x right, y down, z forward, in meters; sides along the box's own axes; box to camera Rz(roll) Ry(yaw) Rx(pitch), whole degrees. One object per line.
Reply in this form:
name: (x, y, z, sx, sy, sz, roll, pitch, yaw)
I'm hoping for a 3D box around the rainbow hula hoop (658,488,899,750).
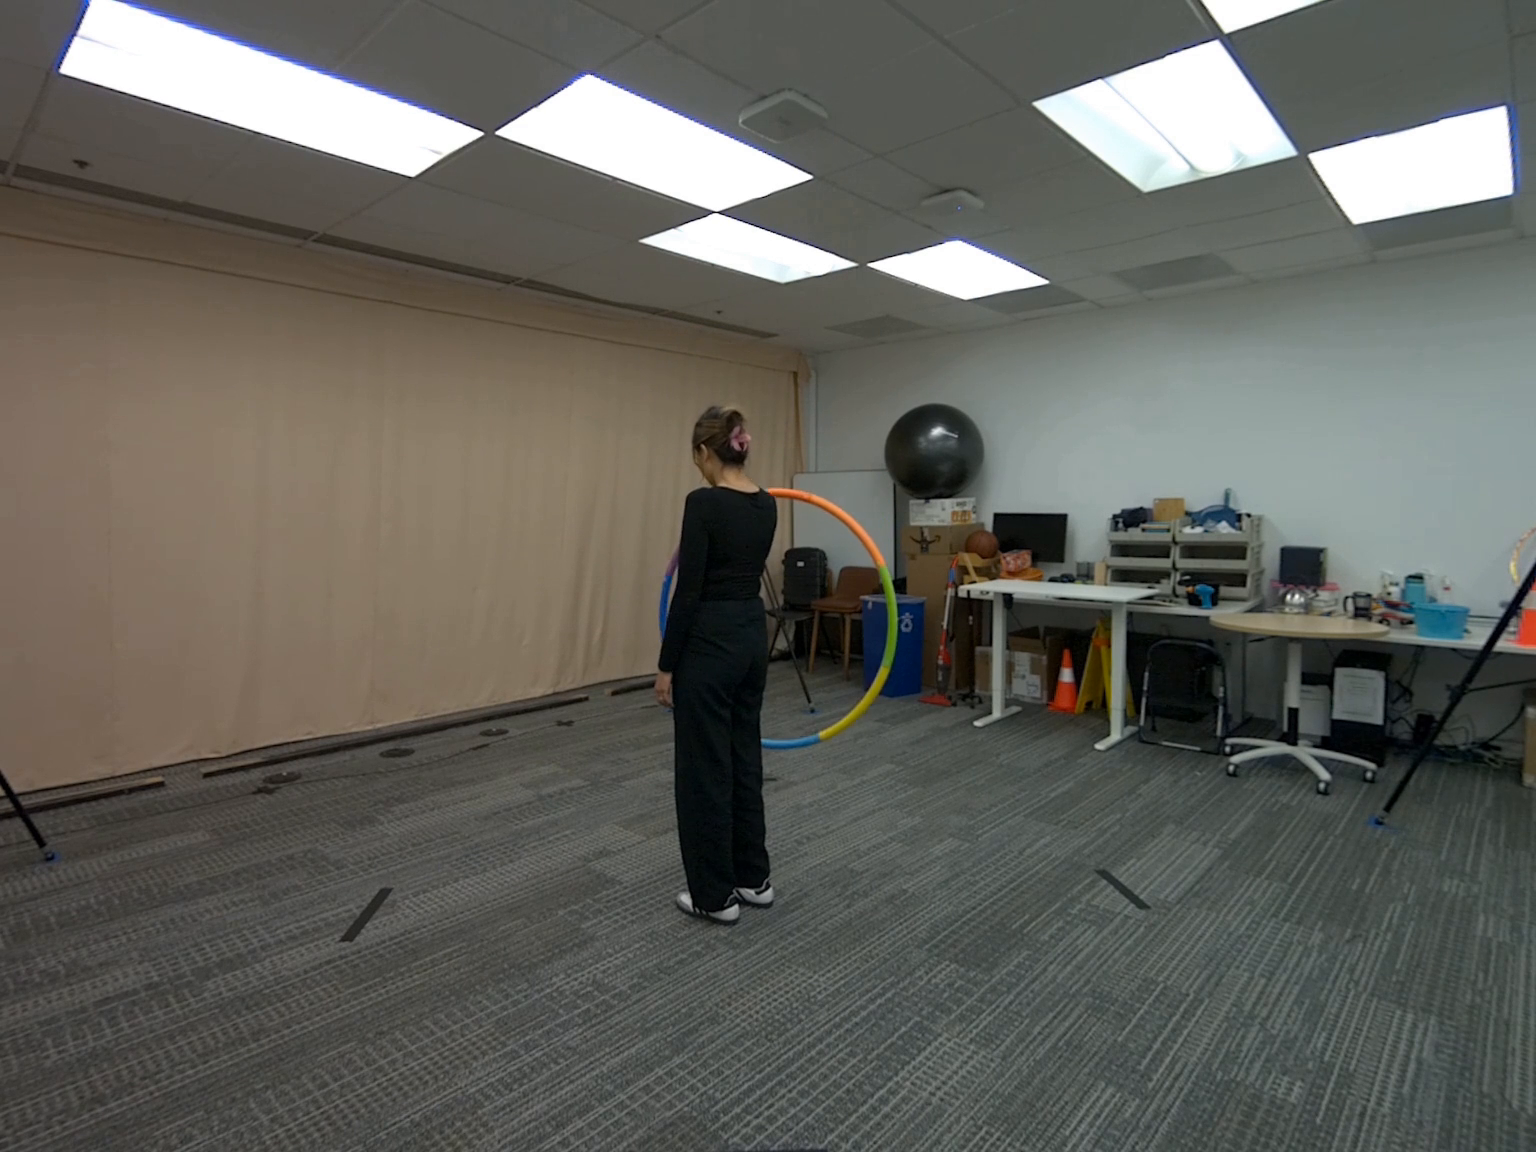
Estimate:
rainbow hula hoop: (0.018, 0.149, 3.231, 1.009, 0.986, 0.050, 2, -1, 24)
